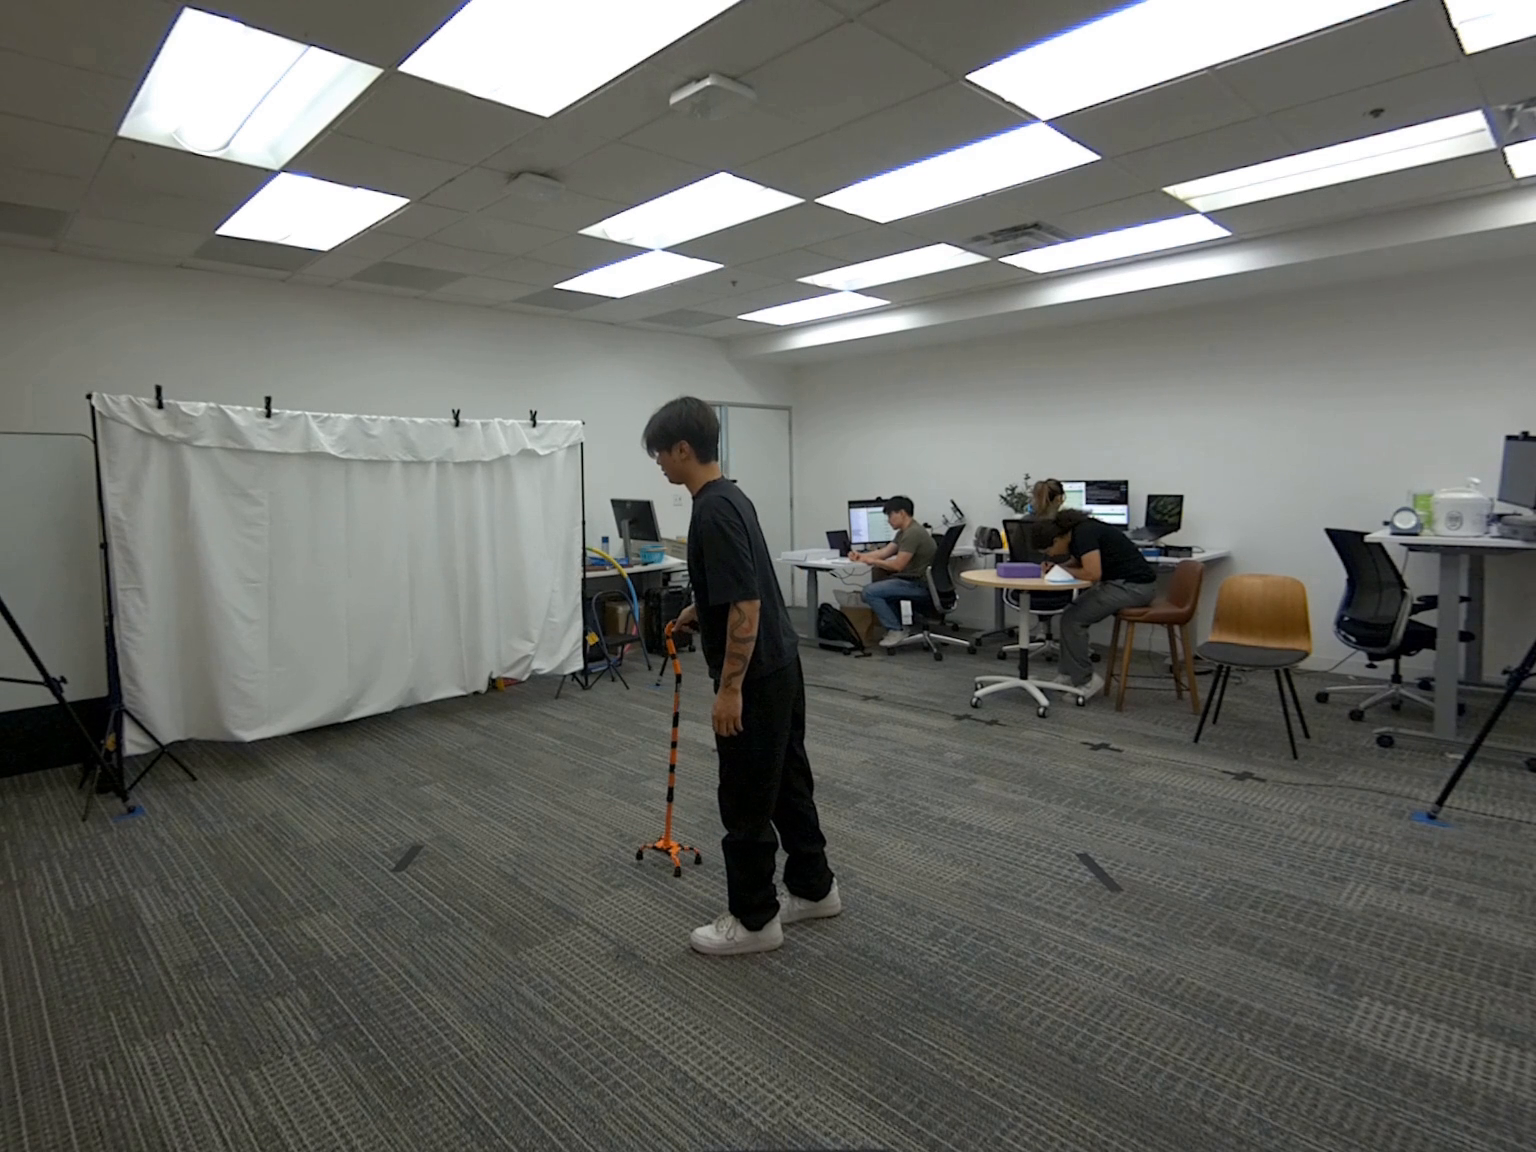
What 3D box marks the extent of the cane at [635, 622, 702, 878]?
[{"bbox_3d":[-0.325,0.598,3.063,0.212,0.903,0.148,8,8,31],"label":"cane"}]
